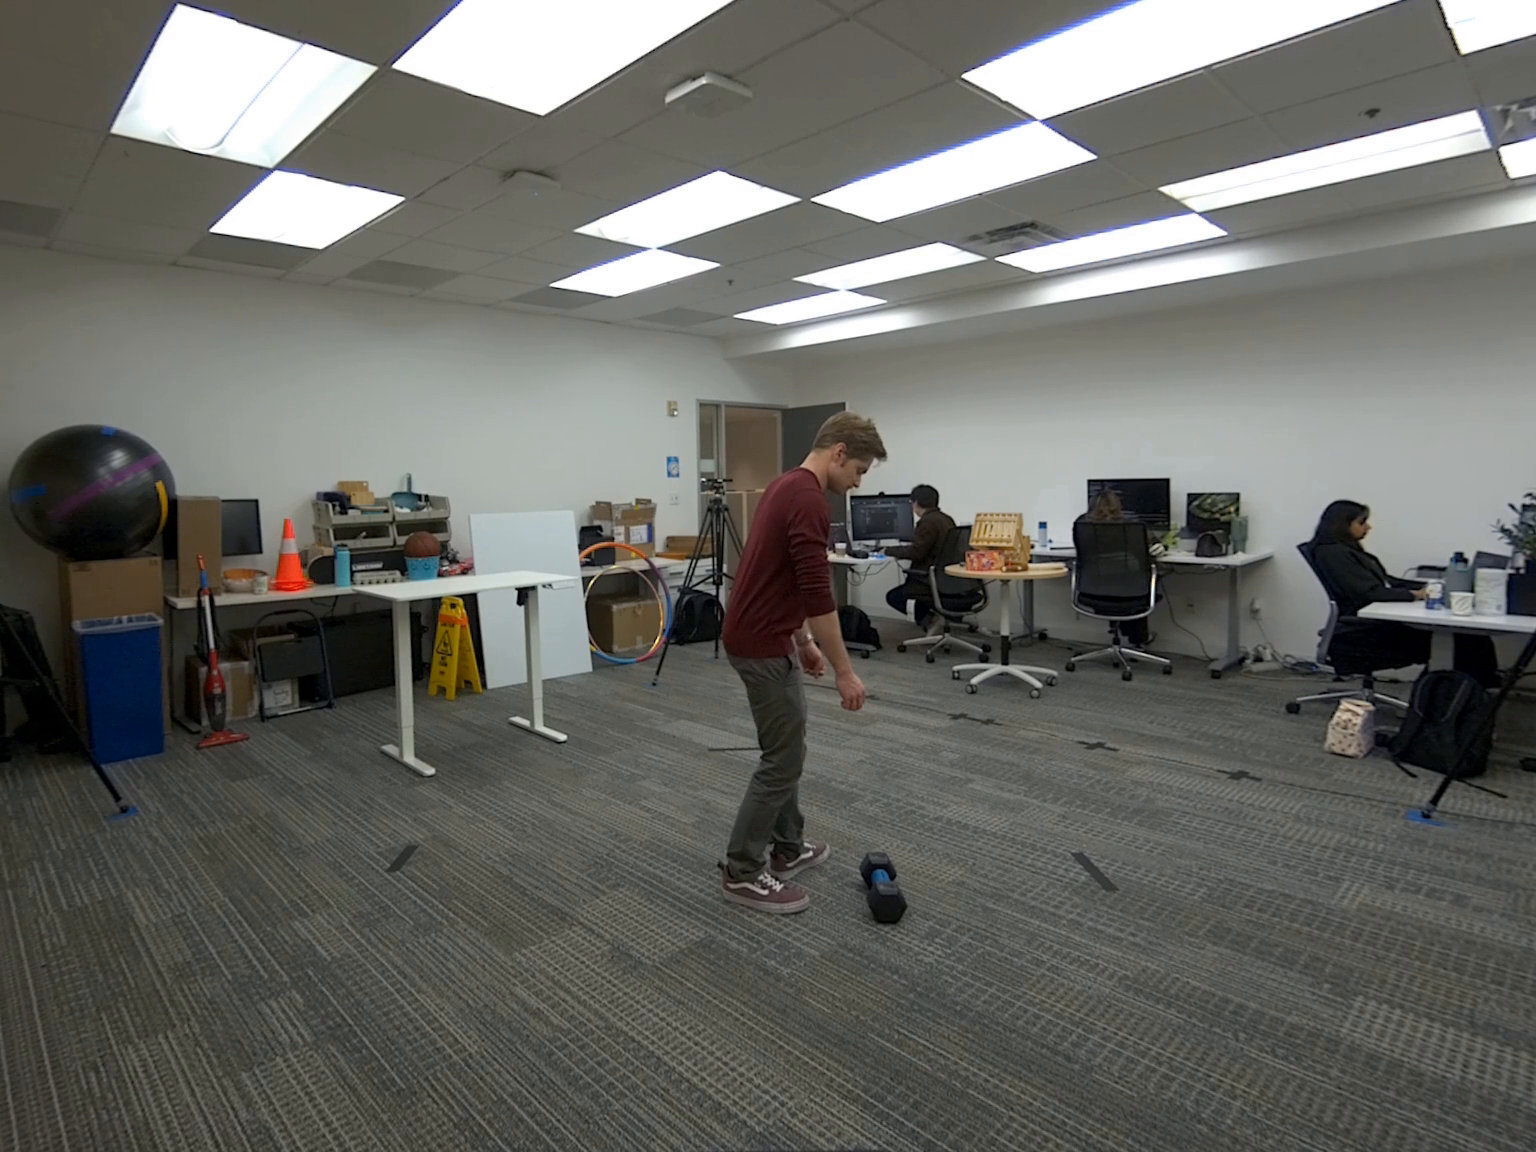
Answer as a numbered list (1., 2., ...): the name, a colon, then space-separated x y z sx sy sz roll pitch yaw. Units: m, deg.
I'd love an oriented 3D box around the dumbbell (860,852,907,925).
1. dumbbell: 0.376 1.018 2.805 0.109 0.122 0.295 -29 6 2
